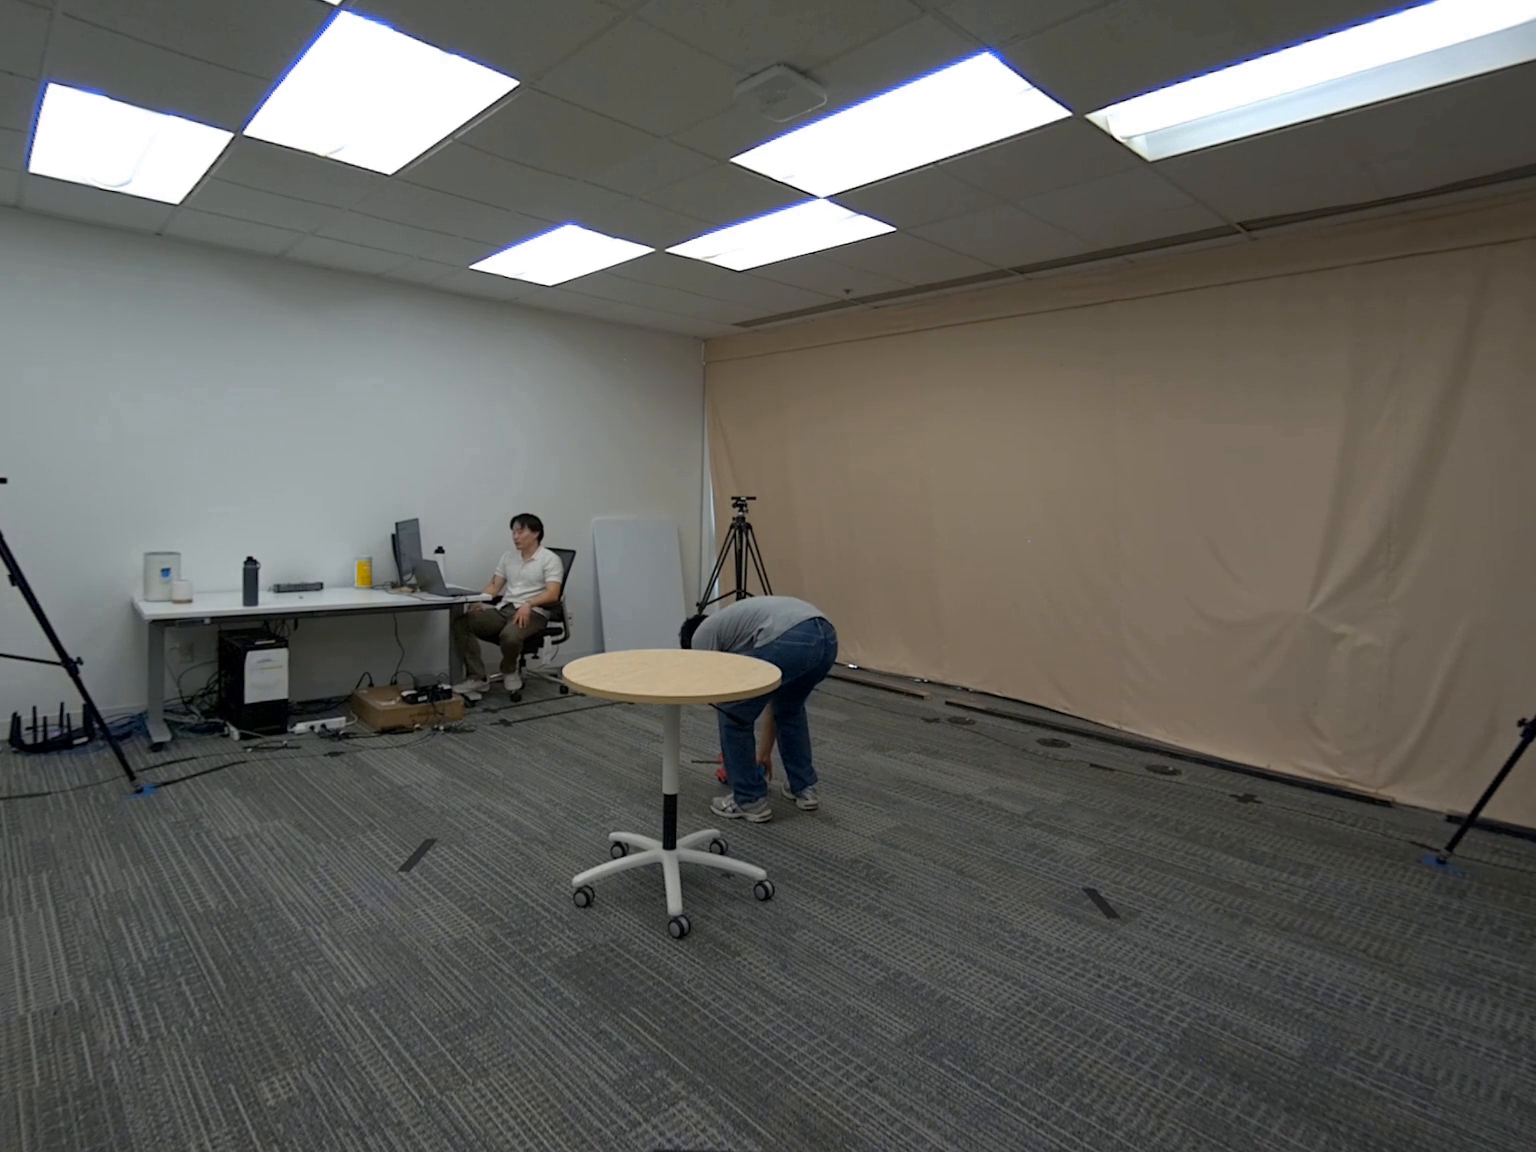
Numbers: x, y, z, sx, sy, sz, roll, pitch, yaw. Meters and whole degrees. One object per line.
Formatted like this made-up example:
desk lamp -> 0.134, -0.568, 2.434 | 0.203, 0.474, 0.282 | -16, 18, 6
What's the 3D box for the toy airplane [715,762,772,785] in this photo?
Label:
toy airplane -> -0.118, 0.947, 4.109 | 0.262, 0.156, 0.249 | 3, 3, 11
